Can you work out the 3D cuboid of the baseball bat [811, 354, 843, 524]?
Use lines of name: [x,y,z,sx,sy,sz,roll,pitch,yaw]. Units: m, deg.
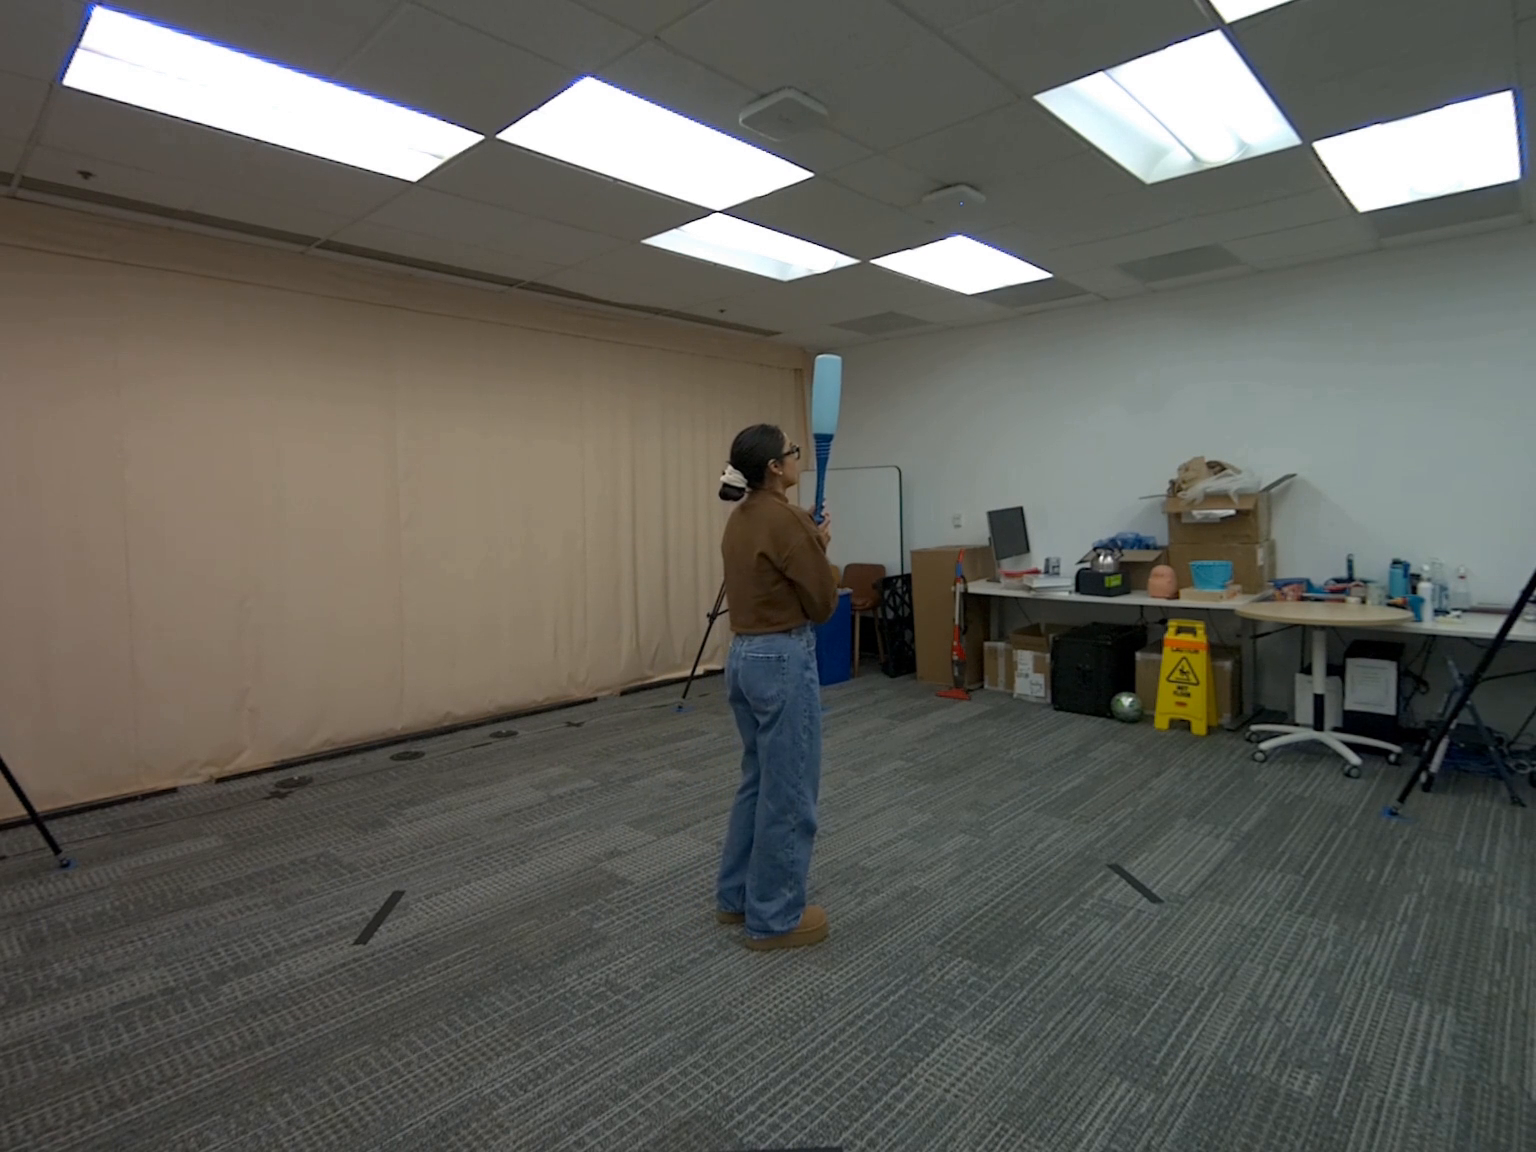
baseball bat: [0.175,-0.440,2.711,0.089,0.542,0.089,5,3,-2]
